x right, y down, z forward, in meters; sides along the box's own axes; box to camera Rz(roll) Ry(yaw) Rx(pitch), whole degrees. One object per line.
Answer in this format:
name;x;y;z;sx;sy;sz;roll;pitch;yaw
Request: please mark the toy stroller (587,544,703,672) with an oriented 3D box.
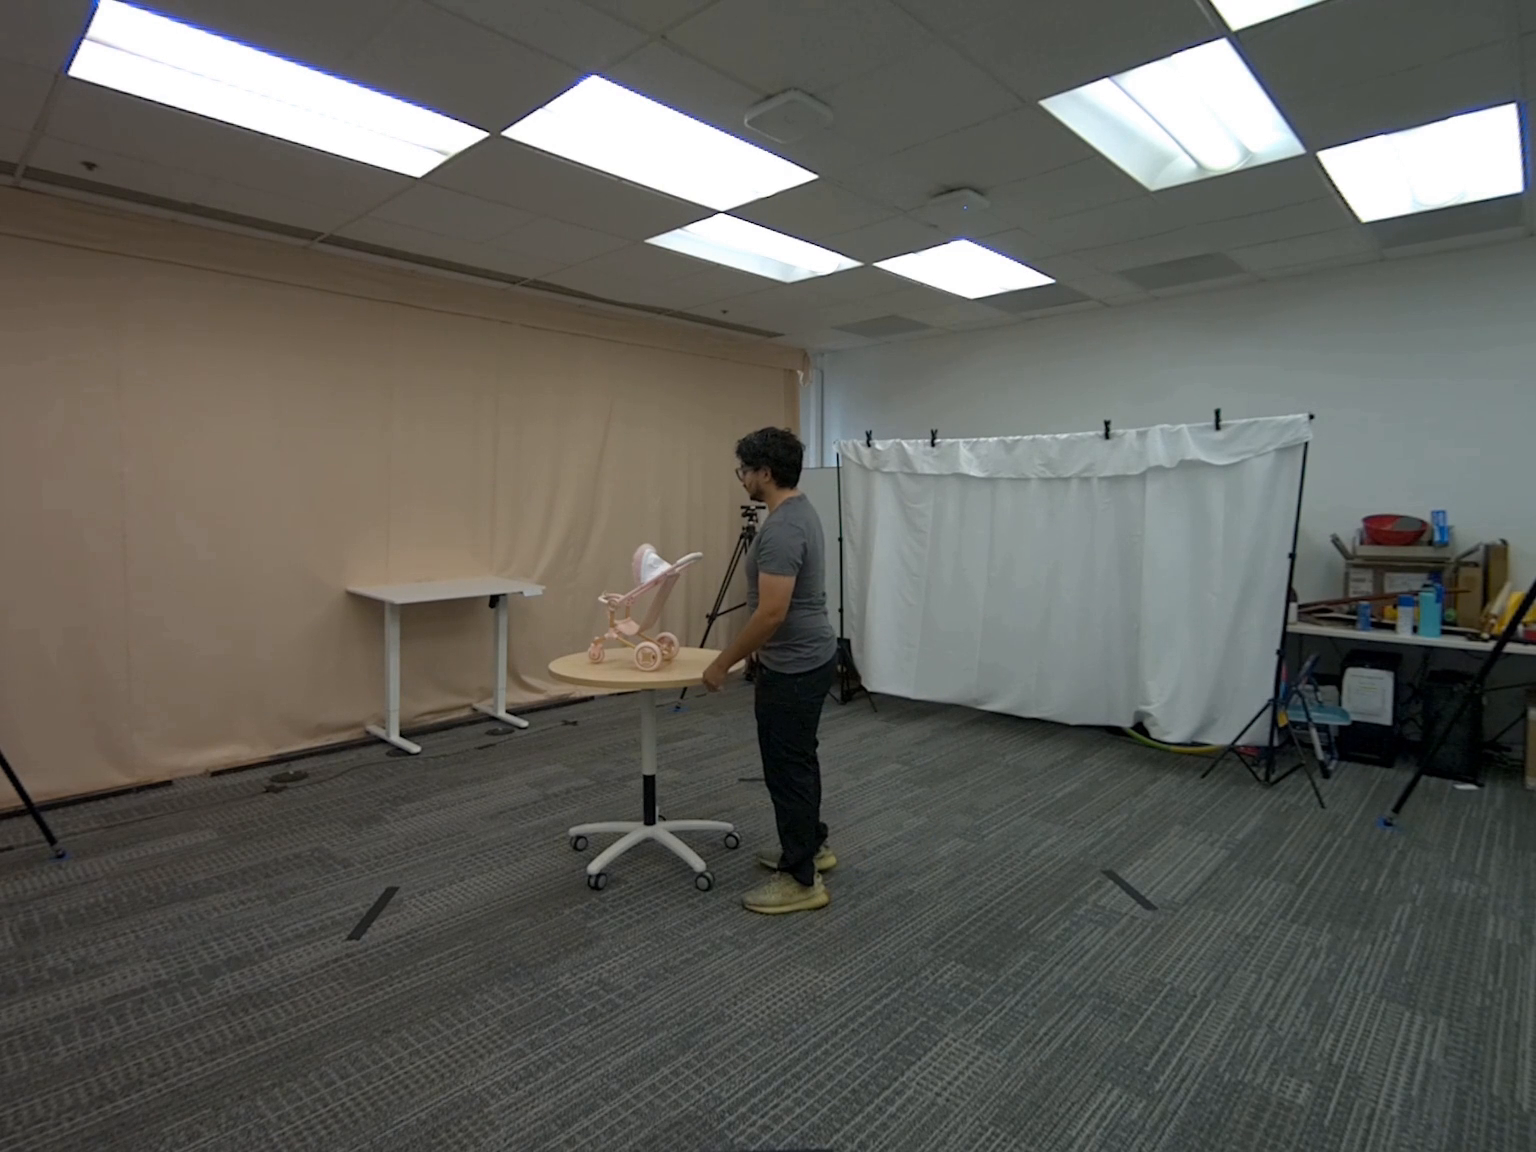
toy stroller;-0.492;0.120;3.236;0.348;0.534;0.277;17;7;14
